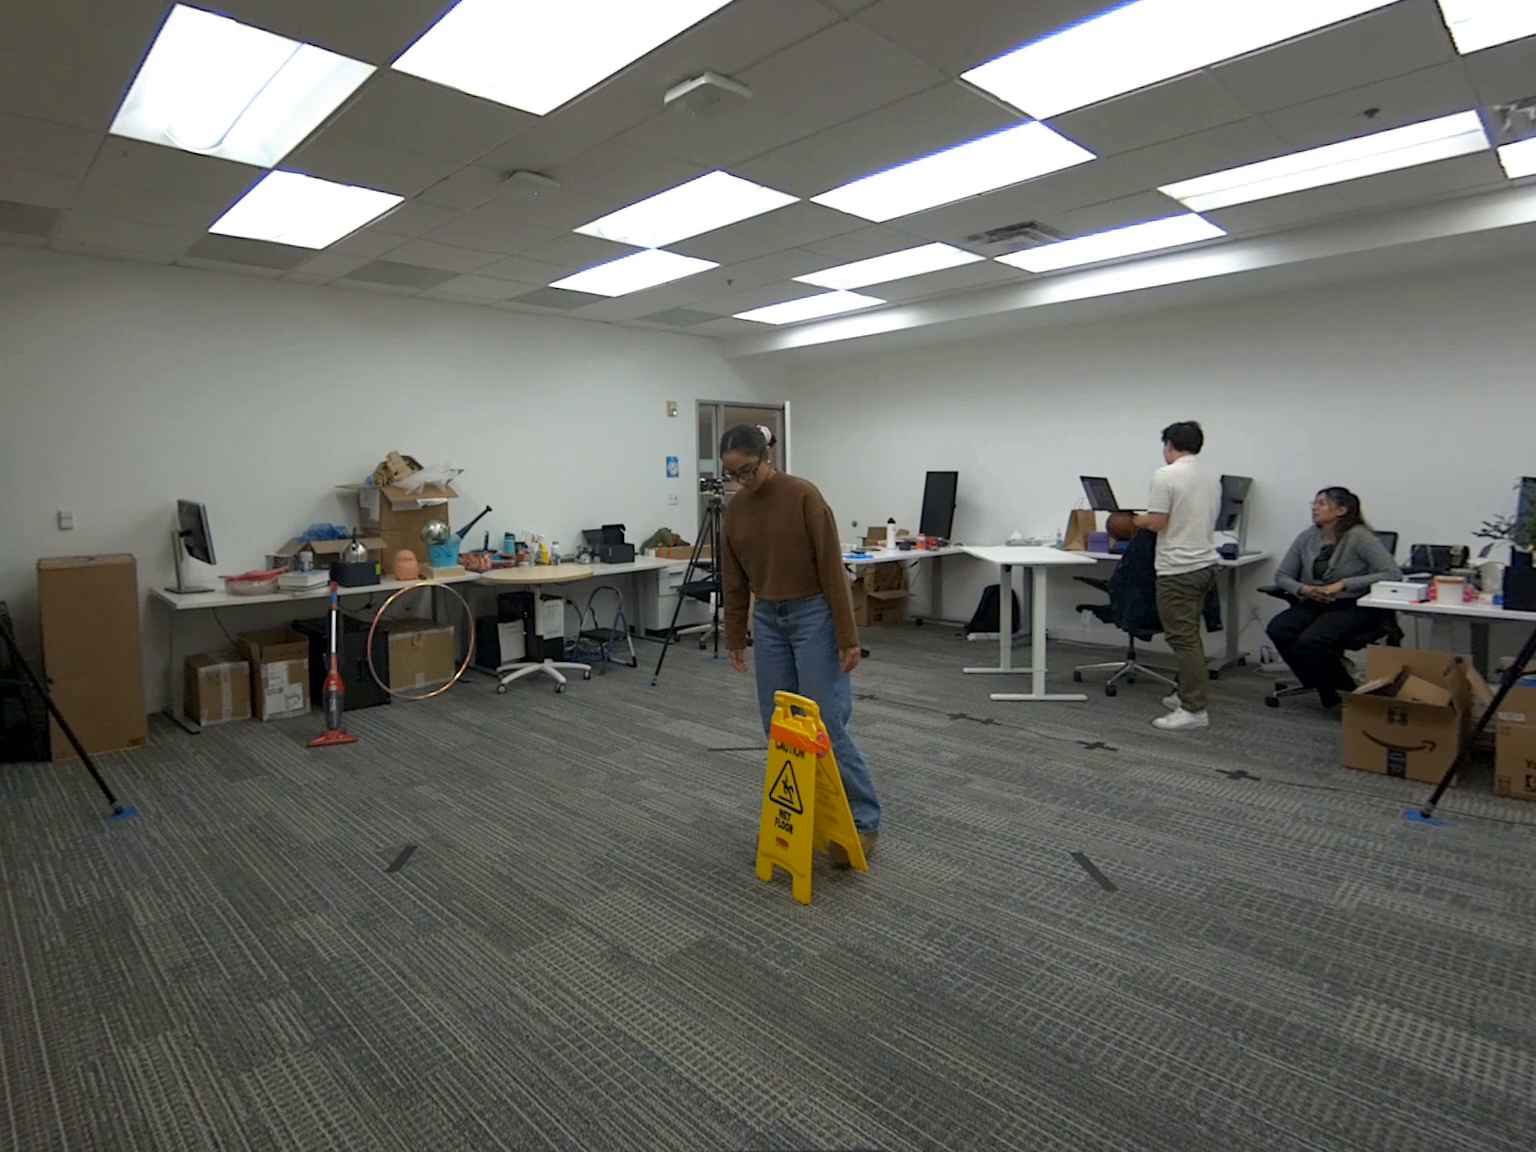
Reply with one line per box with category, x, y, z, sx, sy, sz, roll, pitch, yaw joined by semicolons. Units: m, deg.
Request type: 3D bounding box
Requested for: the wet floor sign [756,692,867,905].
wet floor sign;0.122;0.728;2.943;0.283;0.641;0.290;-11;9;-36
